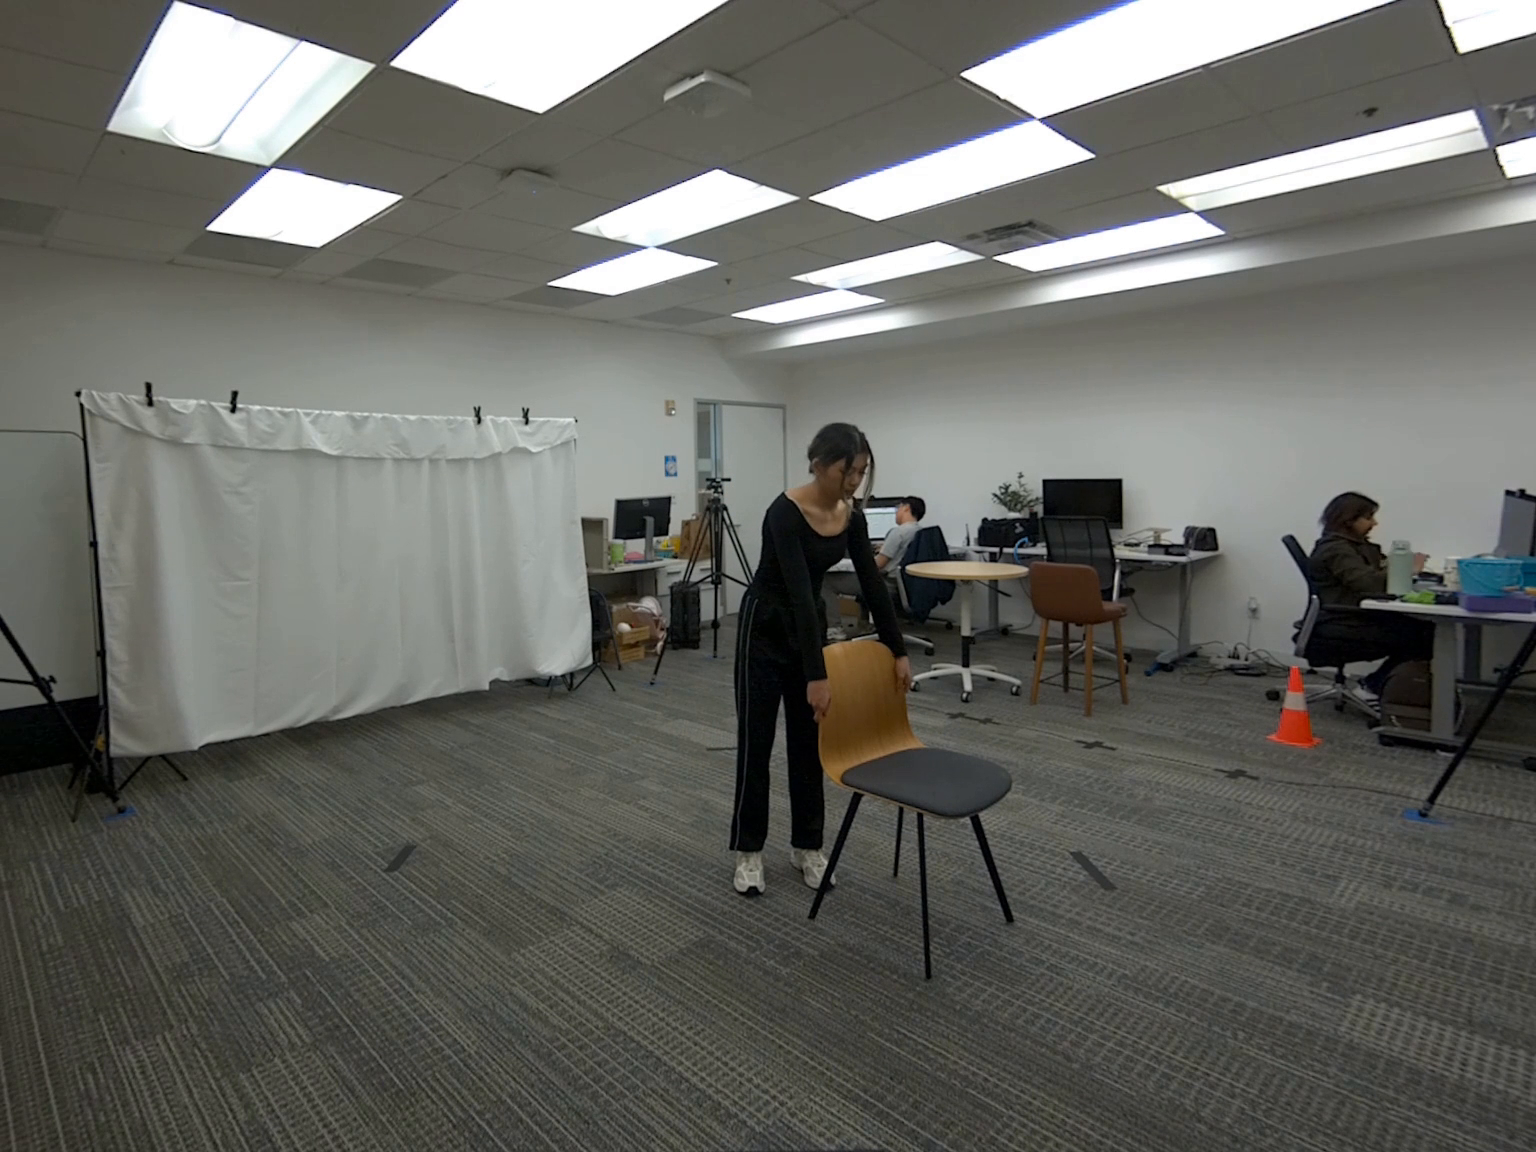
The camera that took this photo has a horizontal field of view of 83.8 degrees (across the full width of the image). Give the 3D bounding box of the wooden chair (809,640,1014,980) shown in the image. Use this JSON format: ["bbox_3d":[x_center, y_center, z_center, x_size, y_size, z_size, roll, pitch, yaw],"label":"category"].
[{"bbox_3d":[0.449,0.660,2.645,0.465,0.877,0.537,-4,1,-43],"label":"wooden chair"}]
